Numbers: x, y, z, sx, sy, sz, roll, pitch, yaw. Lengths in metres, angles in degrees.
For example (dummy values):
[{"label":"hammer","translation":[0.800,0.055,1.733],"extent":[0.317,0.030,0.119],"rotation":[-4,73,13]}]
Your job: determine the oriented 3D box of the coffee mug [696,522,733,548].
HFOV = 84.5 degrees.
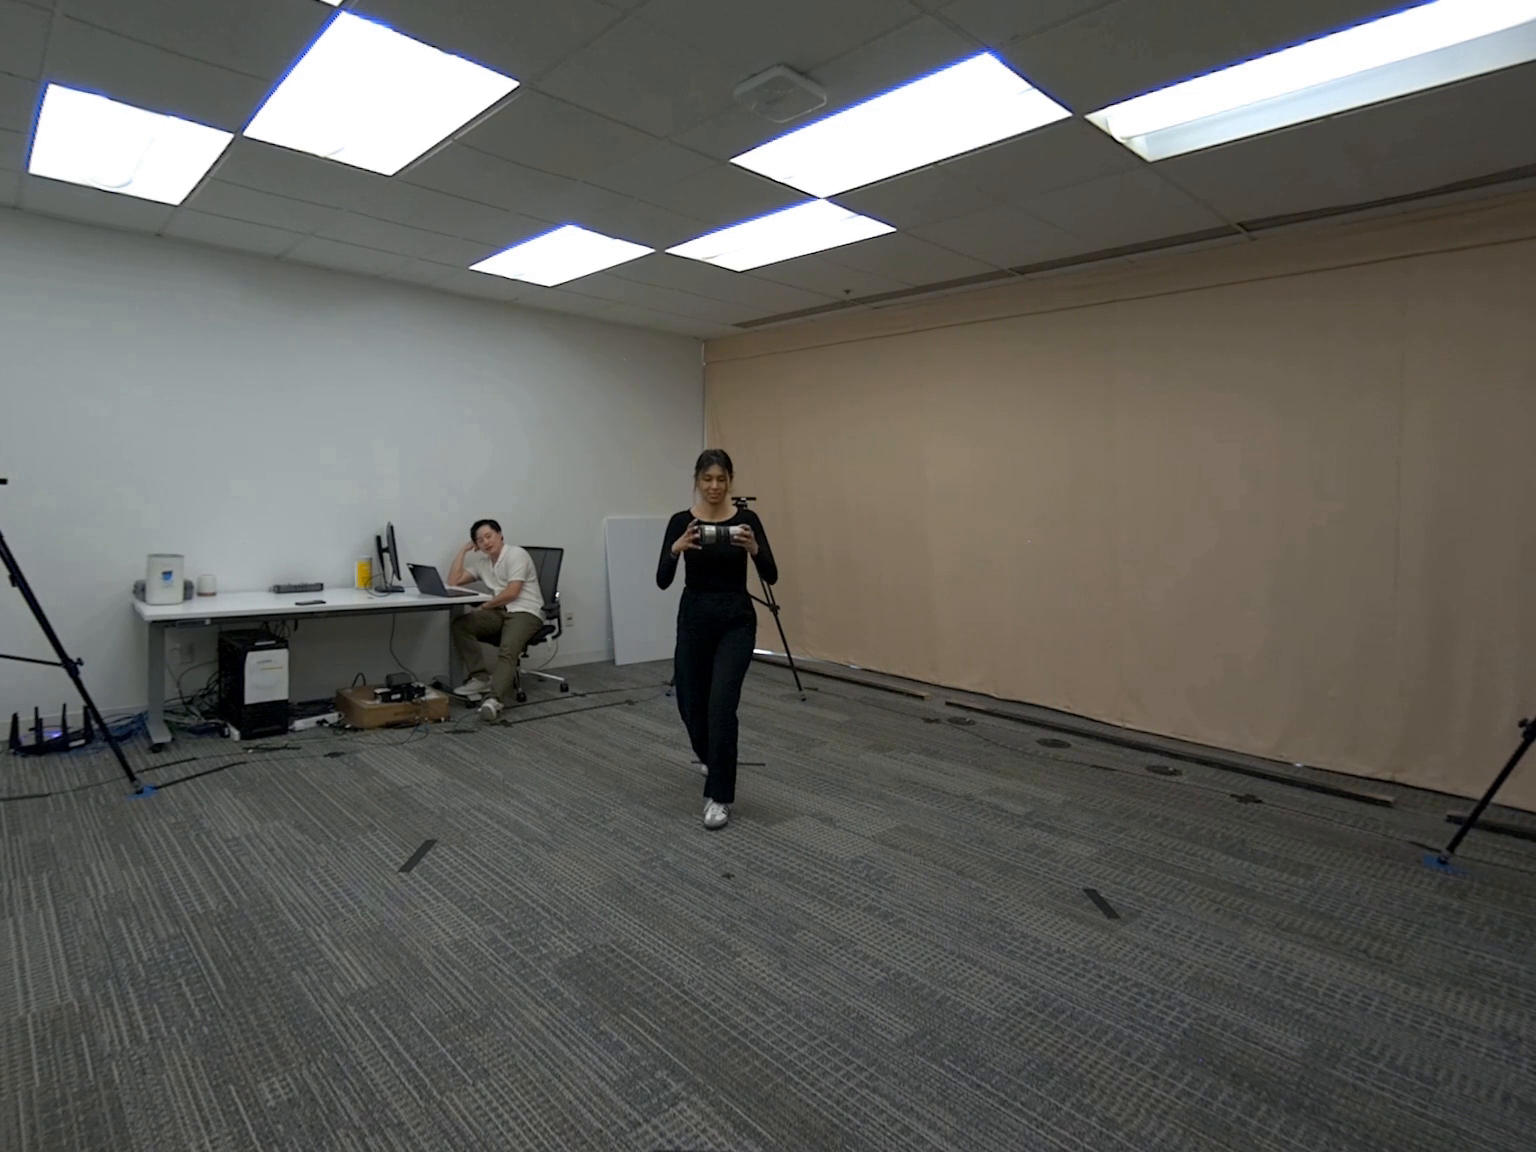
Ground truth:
[{"label":"coffee mug","translation":[-0.203,-0.181,3.582],"extent":[0.201,0.086,0.125],"rotation":[-5,48,-14]}]
